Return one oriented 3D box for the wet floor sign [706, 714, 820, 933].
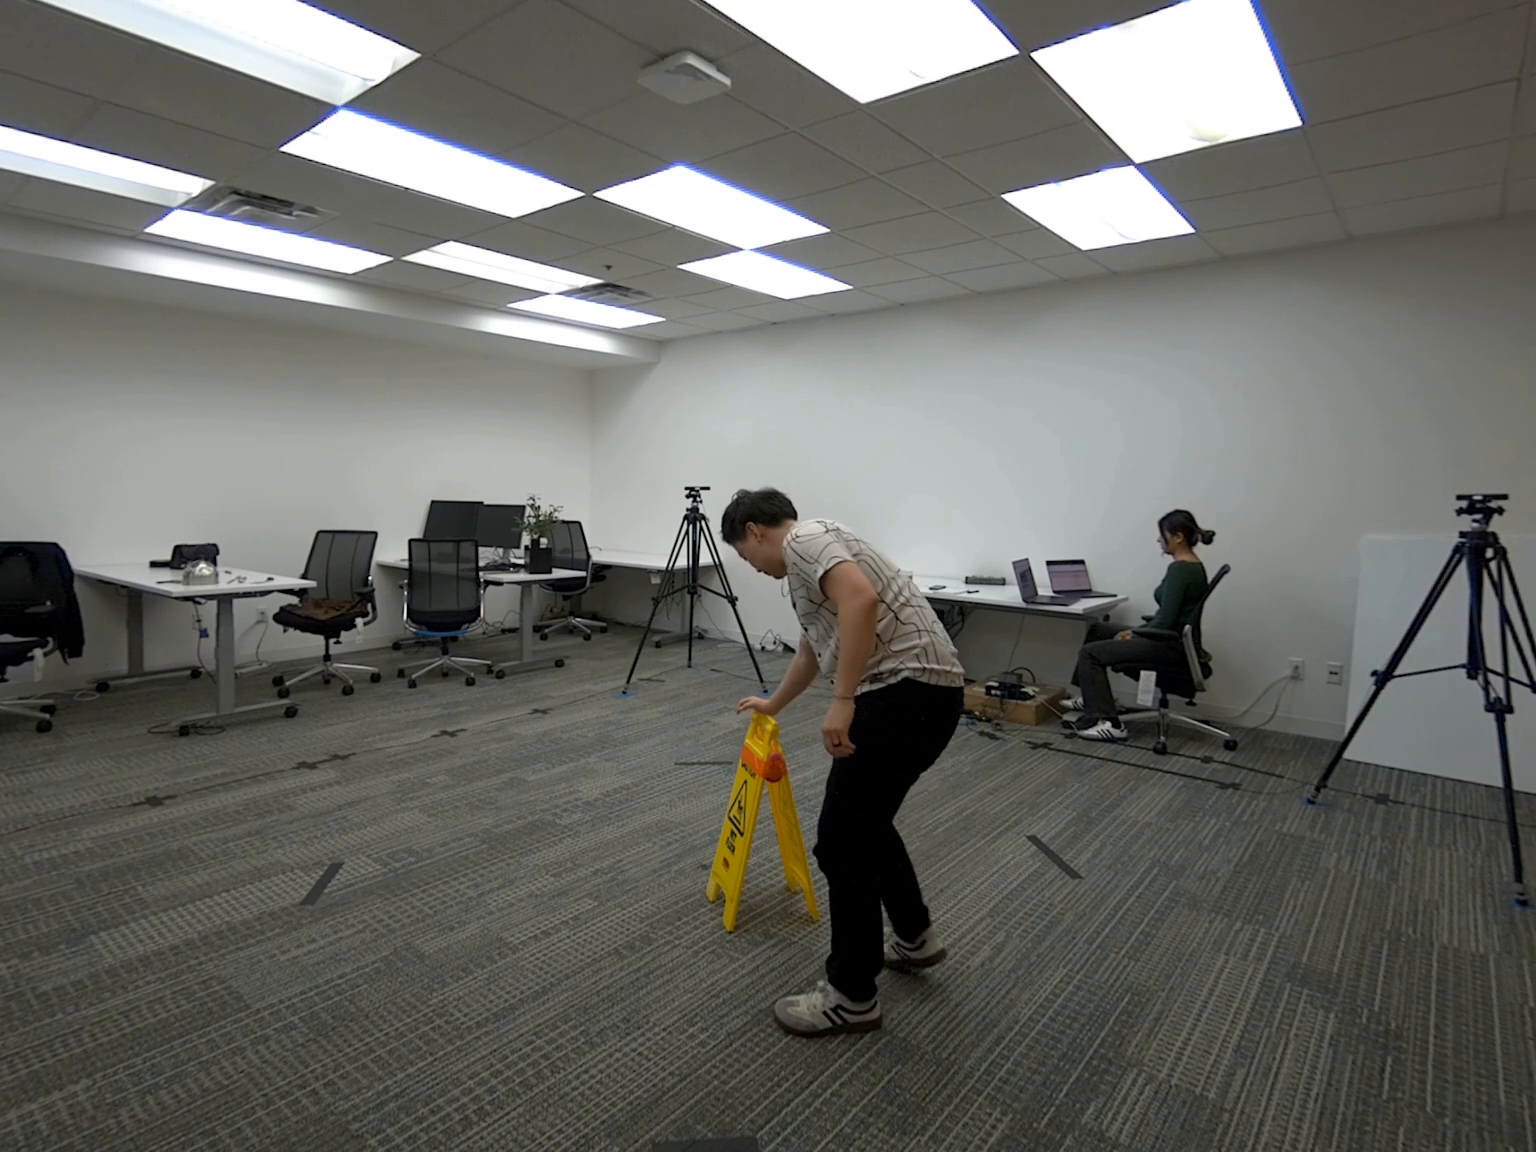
[{"bbox_3d":[-0.022,0.772,2.809,0.284,0.644,0.288,0,3,-18],"label":"wet floor sign"}]
